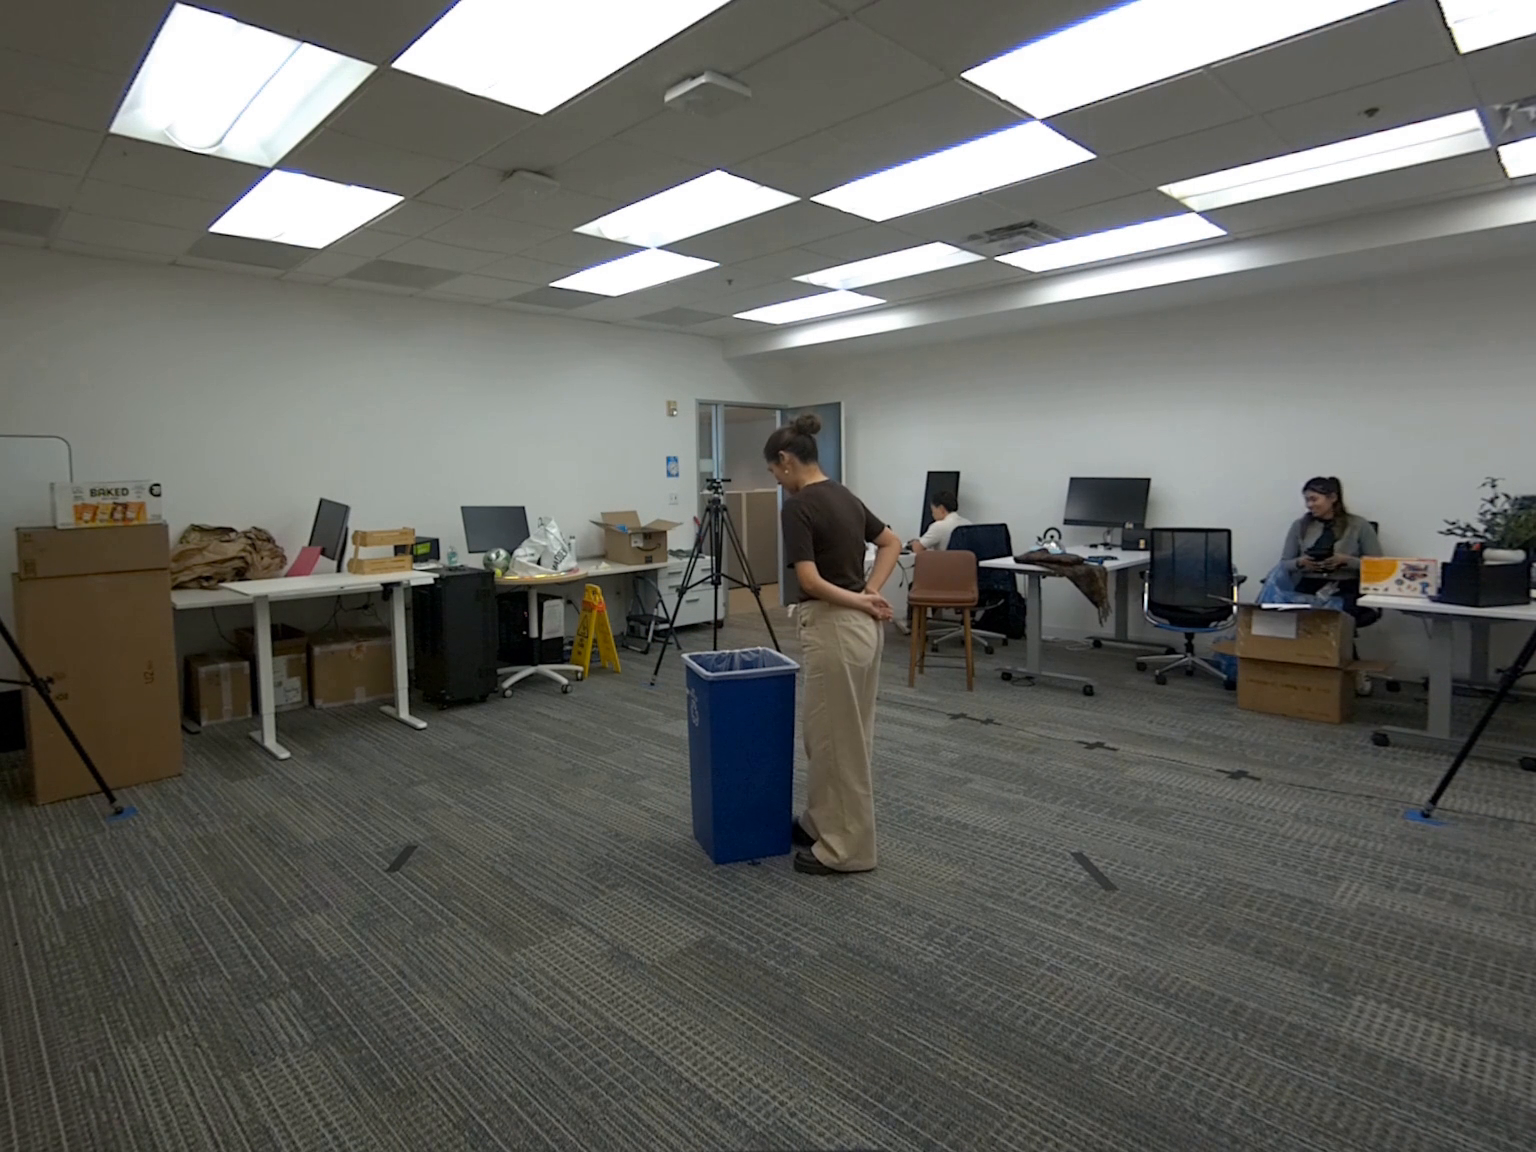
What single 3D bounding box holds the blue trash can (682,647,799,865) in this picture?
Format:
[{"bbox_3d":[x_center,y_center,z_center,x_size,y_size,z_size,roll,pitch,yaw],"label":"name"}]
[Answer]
[{"bbox_3d":[-0.108,0.670,3.248,0.367,0.711,0.387,-2,5,-21],"label":"blue trash can"}]
